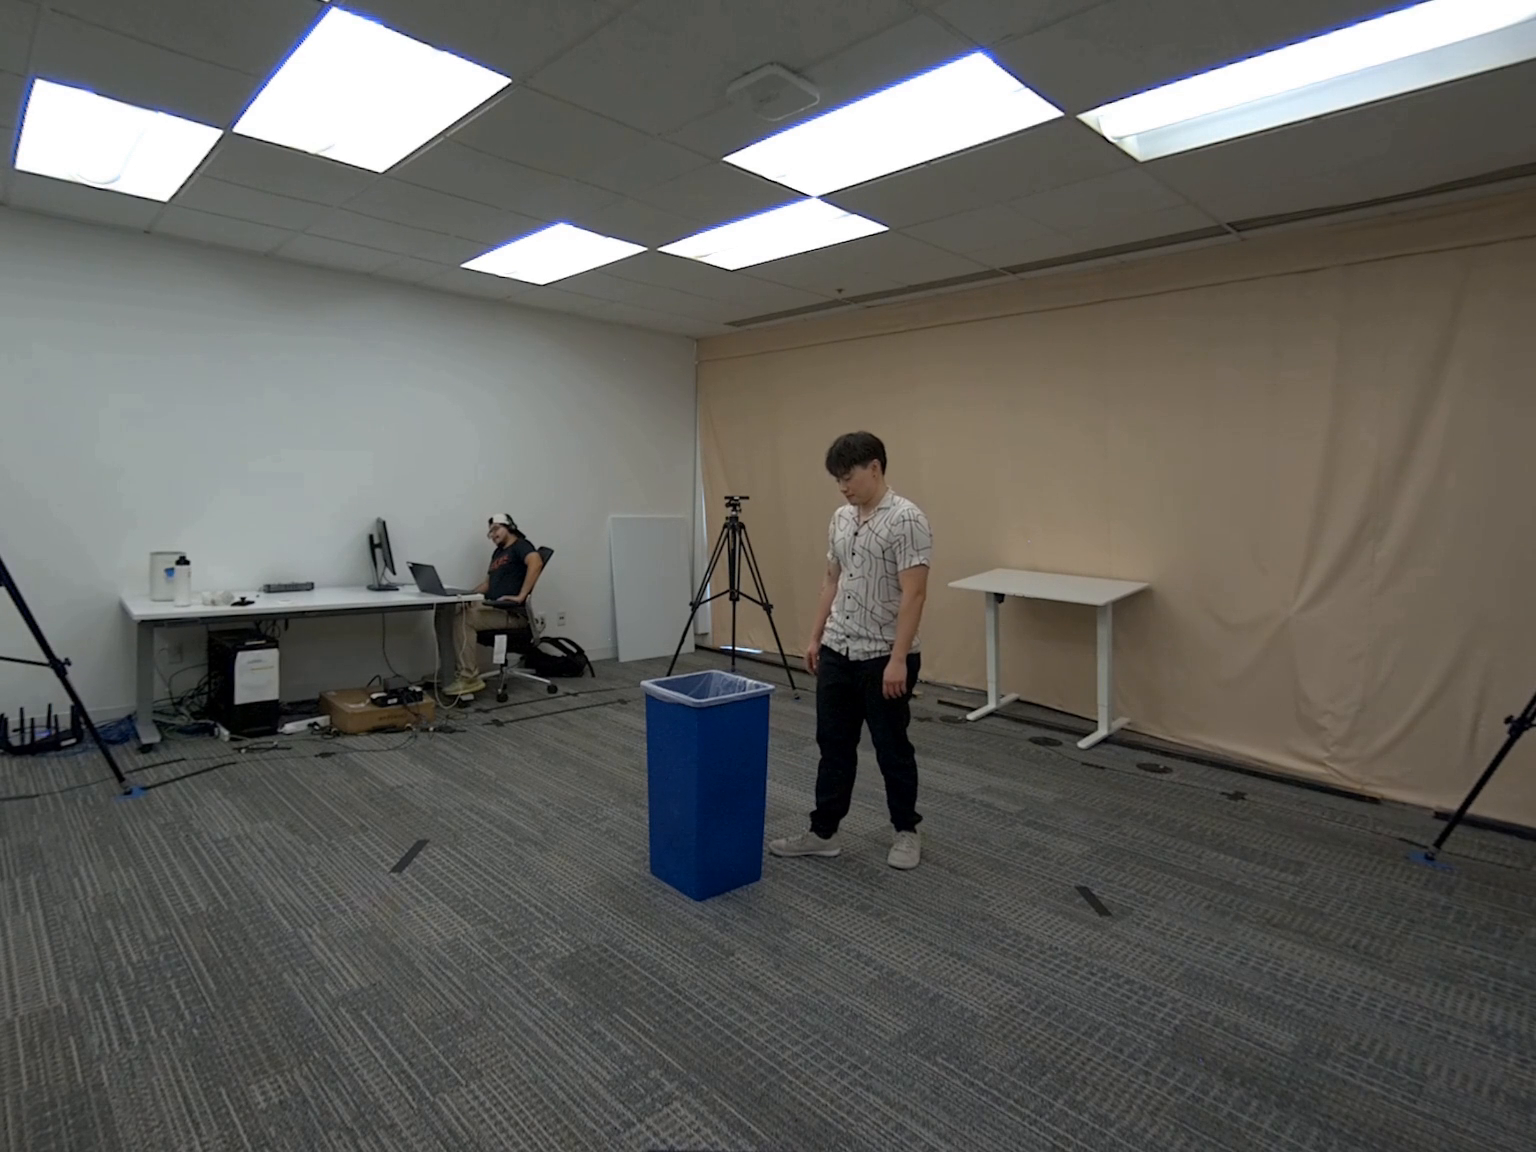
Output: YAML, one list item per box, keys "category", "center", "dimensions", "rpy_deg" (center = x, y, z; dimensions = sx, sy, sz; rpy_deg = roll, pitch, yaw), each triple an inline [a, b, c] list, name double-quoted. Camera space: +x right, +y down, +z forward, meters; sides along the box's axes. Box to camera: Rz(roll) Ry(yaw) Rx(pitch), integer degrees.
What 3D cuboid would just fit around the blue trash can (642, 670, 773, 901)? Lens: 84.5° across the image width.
- category: "blue trash can"
  center: [-0.240, 0.747, 3.074]
  dimensions: [0.369, 0.711, 0.384]
  rpy_deg: [-3, 6, -42]
